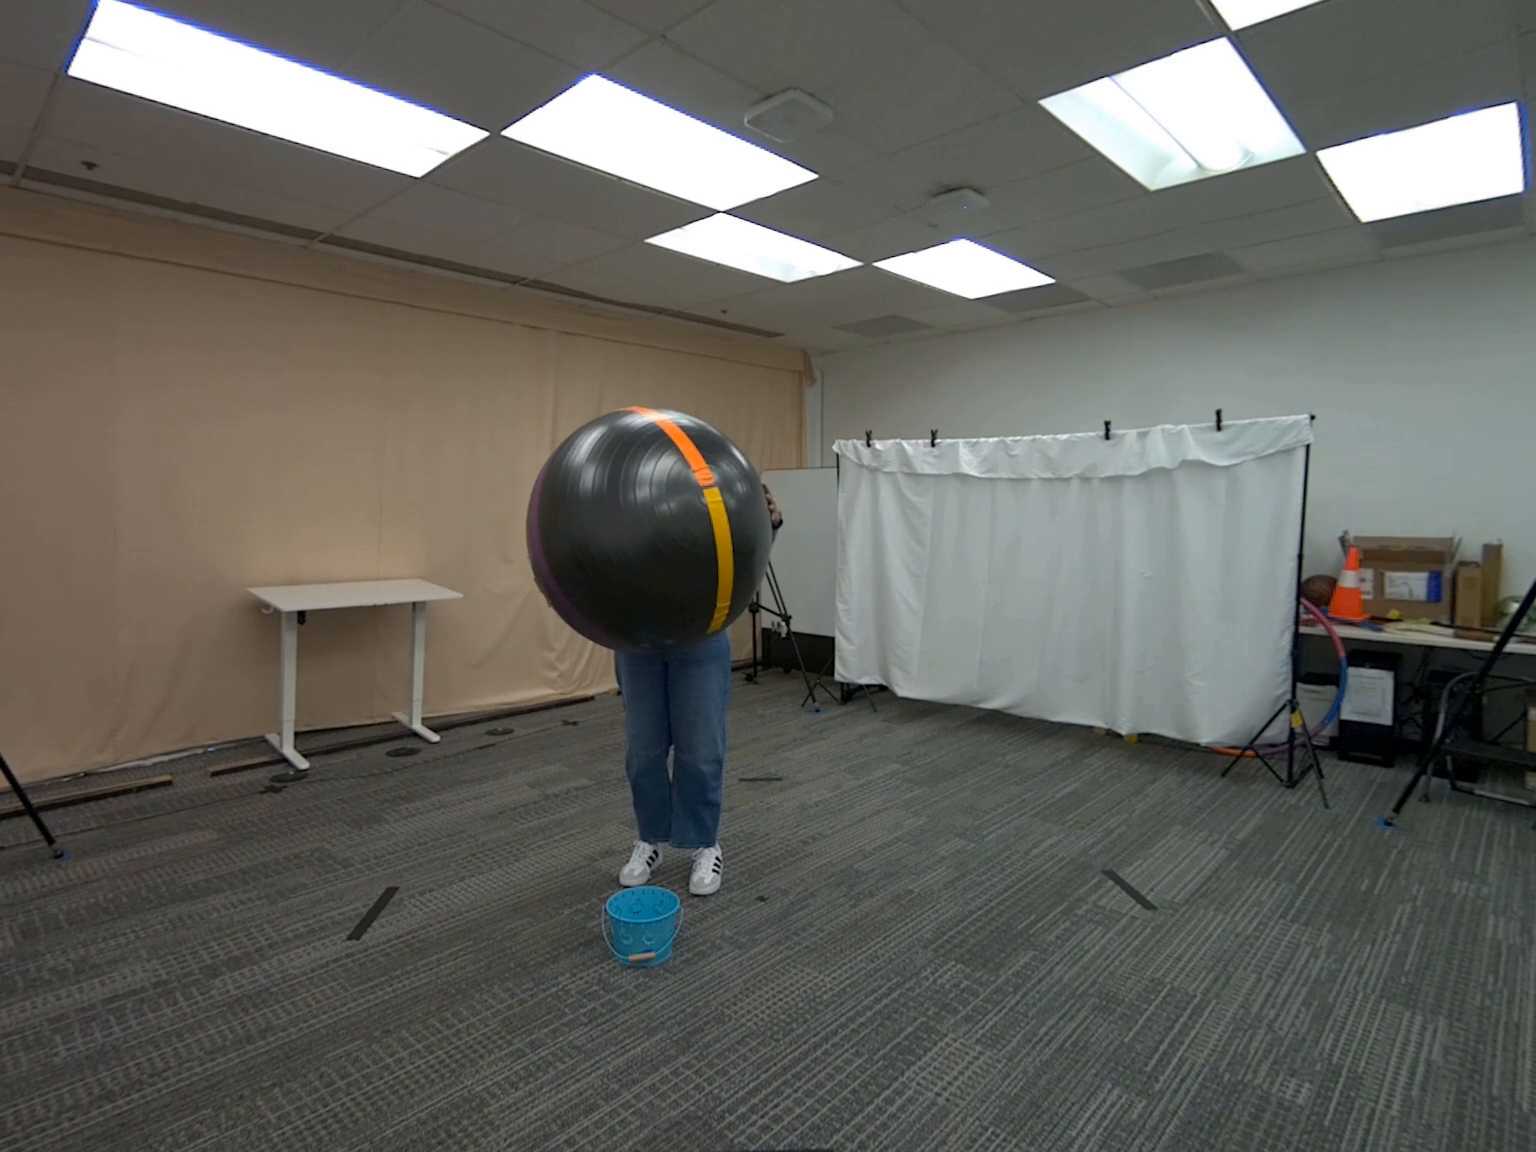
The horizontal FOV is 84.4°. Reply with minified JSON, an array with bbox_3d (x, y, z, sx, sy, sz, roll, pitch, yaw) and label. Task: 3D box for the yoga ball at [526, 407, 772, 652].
[{"bbox_3d":[-0.361,-0.134,2.589,0.757,0.756,0.761,0,4,-2],"label":"yoga ball"}]
